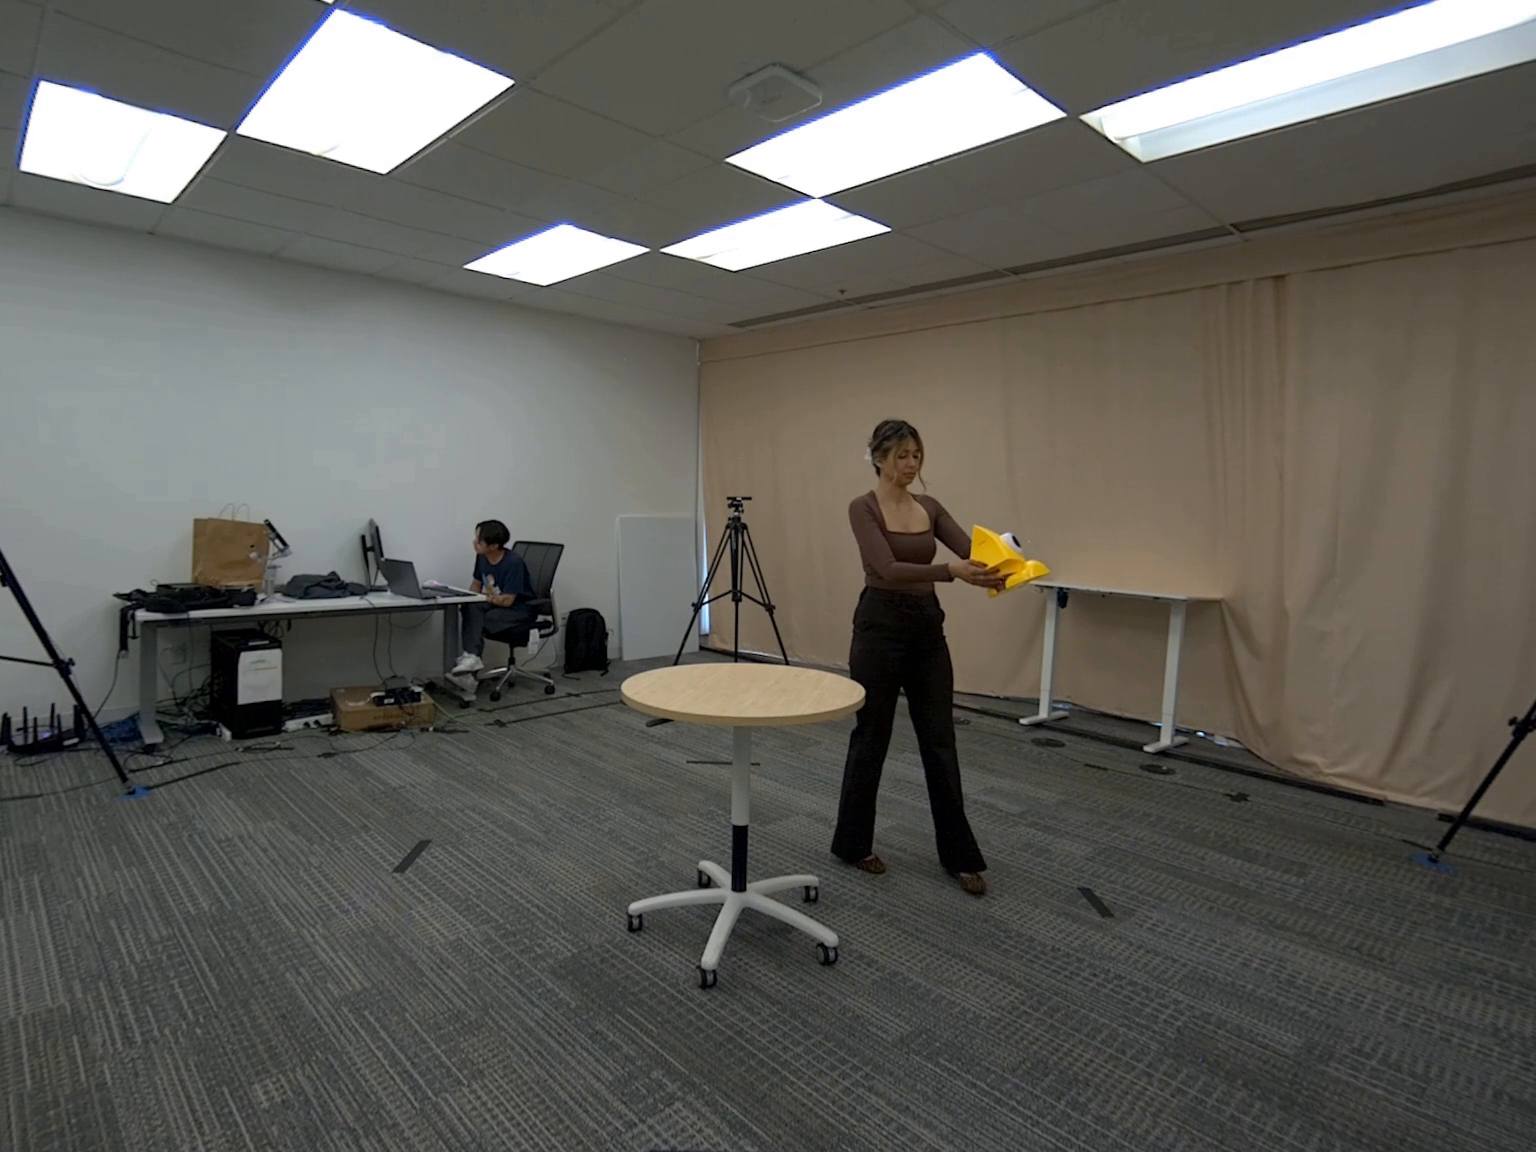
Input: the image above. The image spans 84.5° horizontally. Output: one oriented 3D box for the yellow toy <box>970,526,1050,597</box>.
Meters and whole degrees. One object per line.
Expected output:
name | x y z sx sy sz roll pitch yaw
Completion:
yellow toy | 0.748 -0.075 2.736 0.190 0.233 0.205 -15 -13 -26
